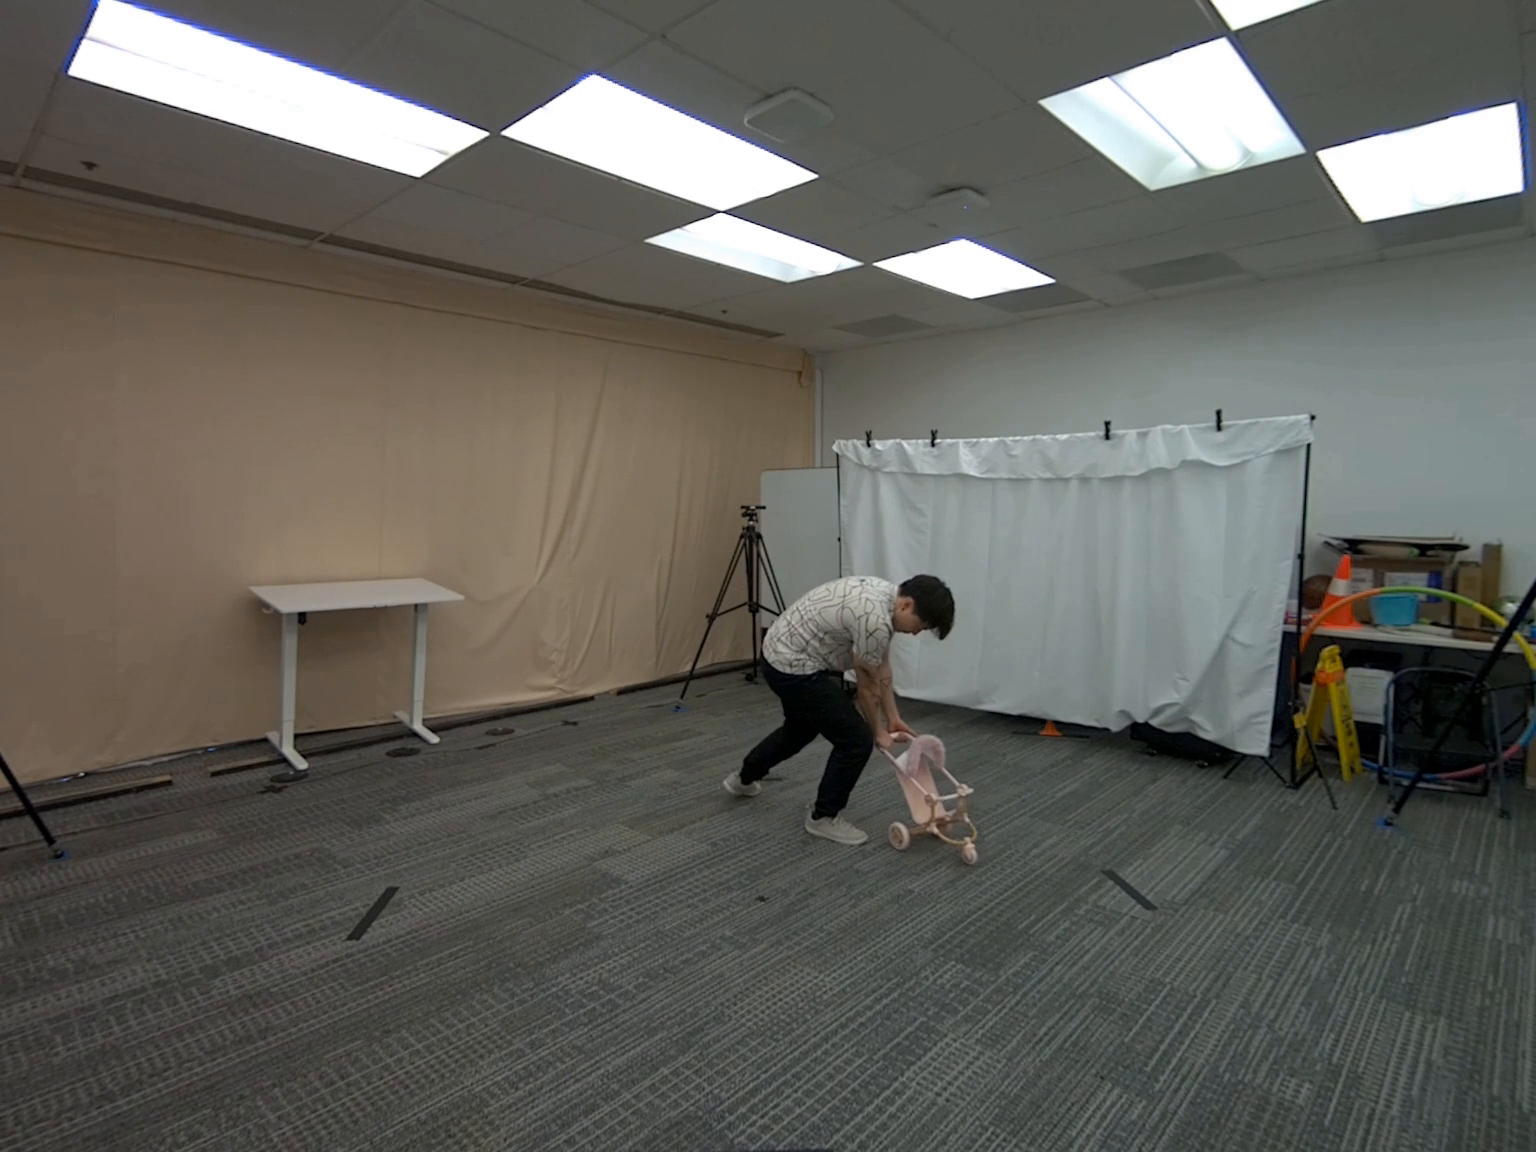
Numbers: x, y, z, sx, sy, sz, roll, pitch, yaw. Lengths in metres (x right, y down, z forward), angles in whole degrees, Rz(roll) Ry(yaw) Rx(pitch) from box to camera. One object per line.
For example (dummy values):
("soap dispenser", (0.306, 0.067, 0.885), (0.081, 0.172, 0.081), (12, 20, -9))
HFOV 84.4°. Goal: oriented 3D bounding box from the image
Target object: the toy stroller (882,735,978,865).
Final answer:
("toy stroller", (0.665, 0.884, 3.418), (0.274, 0.540, 0.347), (-3, -14, -32))
